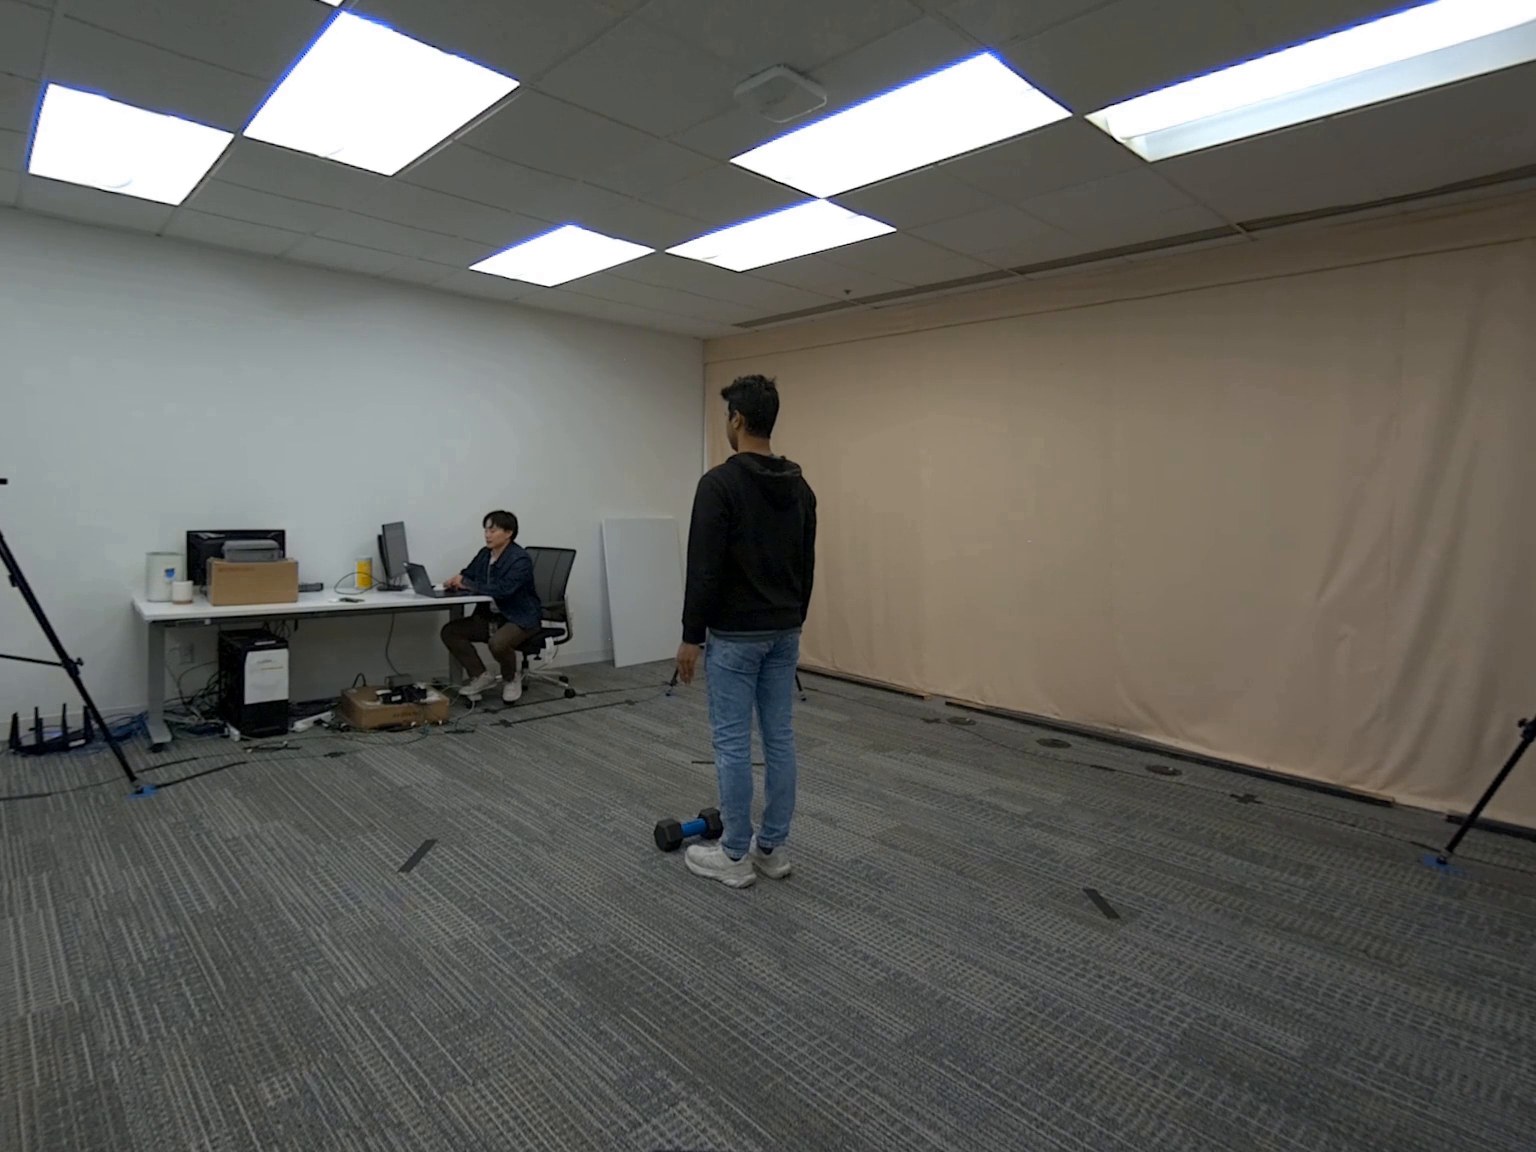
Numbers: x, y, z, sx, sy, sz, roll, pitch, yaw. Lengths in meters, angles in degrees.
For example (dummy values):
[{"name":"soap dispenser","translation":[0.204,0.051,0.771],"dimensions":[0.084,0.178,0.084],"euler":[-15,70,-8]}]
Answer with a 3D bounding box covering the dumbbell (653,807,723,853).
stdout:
[{"name":"dumbbell","translation":[-0.325,1.024,3.400],"dimensions":[0.287,0.125,0.109],"euler":[-3,-25,-41]}]
